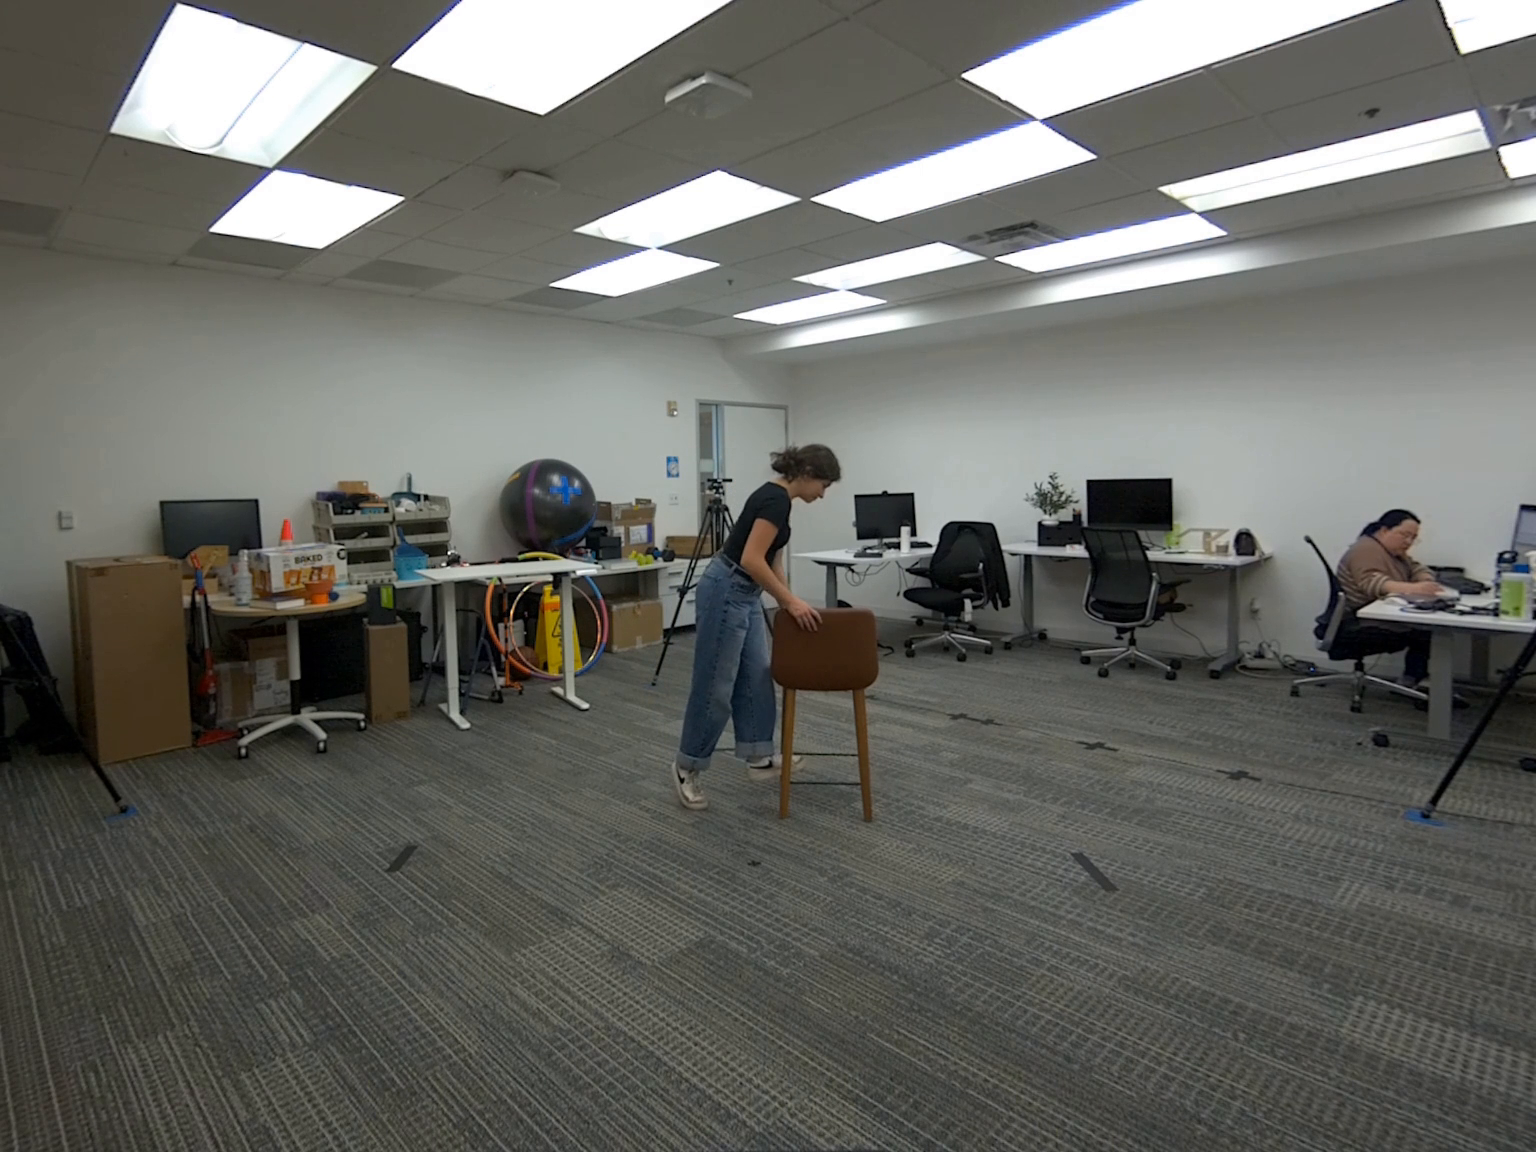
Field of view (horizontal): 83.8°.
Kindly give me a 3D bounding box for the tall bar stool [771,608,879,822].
[{"bbox_3d":[0.246,0.542,3.679,0.460,0.885,0.467,0,6,6],"label":"tall bar stool"}]
